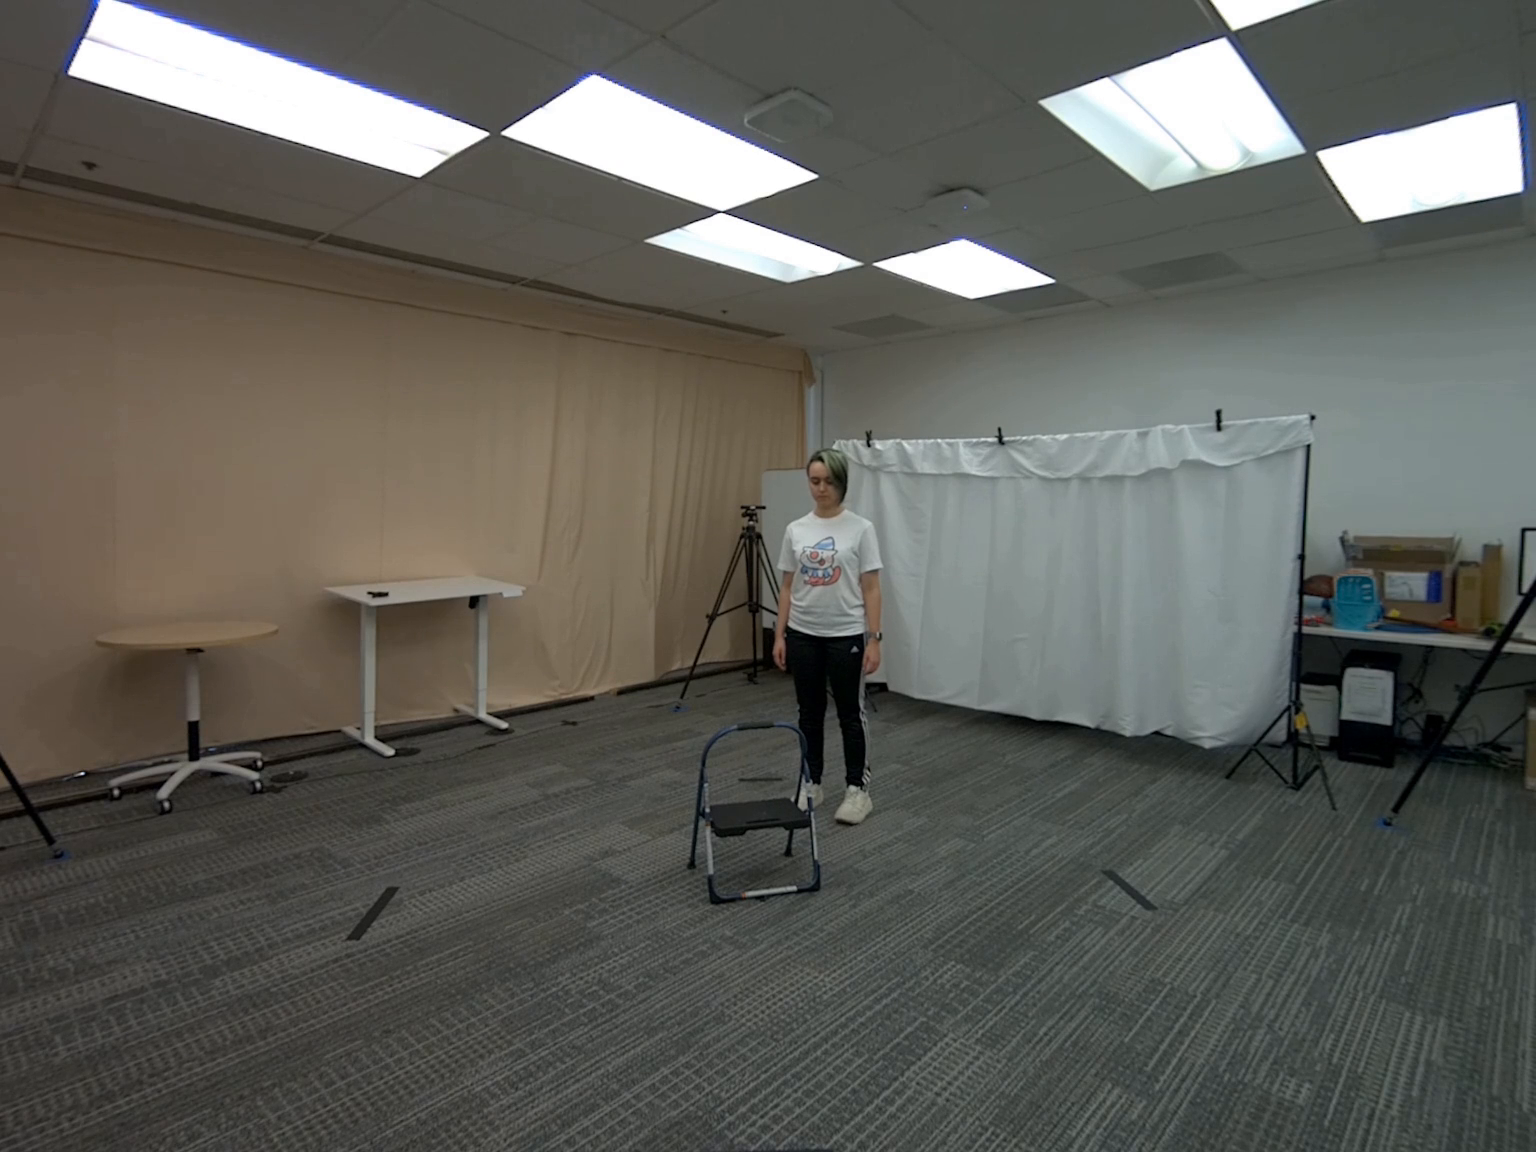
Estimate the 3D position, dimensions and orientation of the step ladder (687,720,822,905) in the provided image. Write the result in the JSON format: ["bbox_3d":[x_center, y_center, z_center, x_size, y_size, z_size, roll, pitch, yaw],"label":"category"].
[{"bbox_3d":[-0.057,0.829,3.136,0.423,0.605,0.356,-2,4,-17],"label":"step ladder"}]
